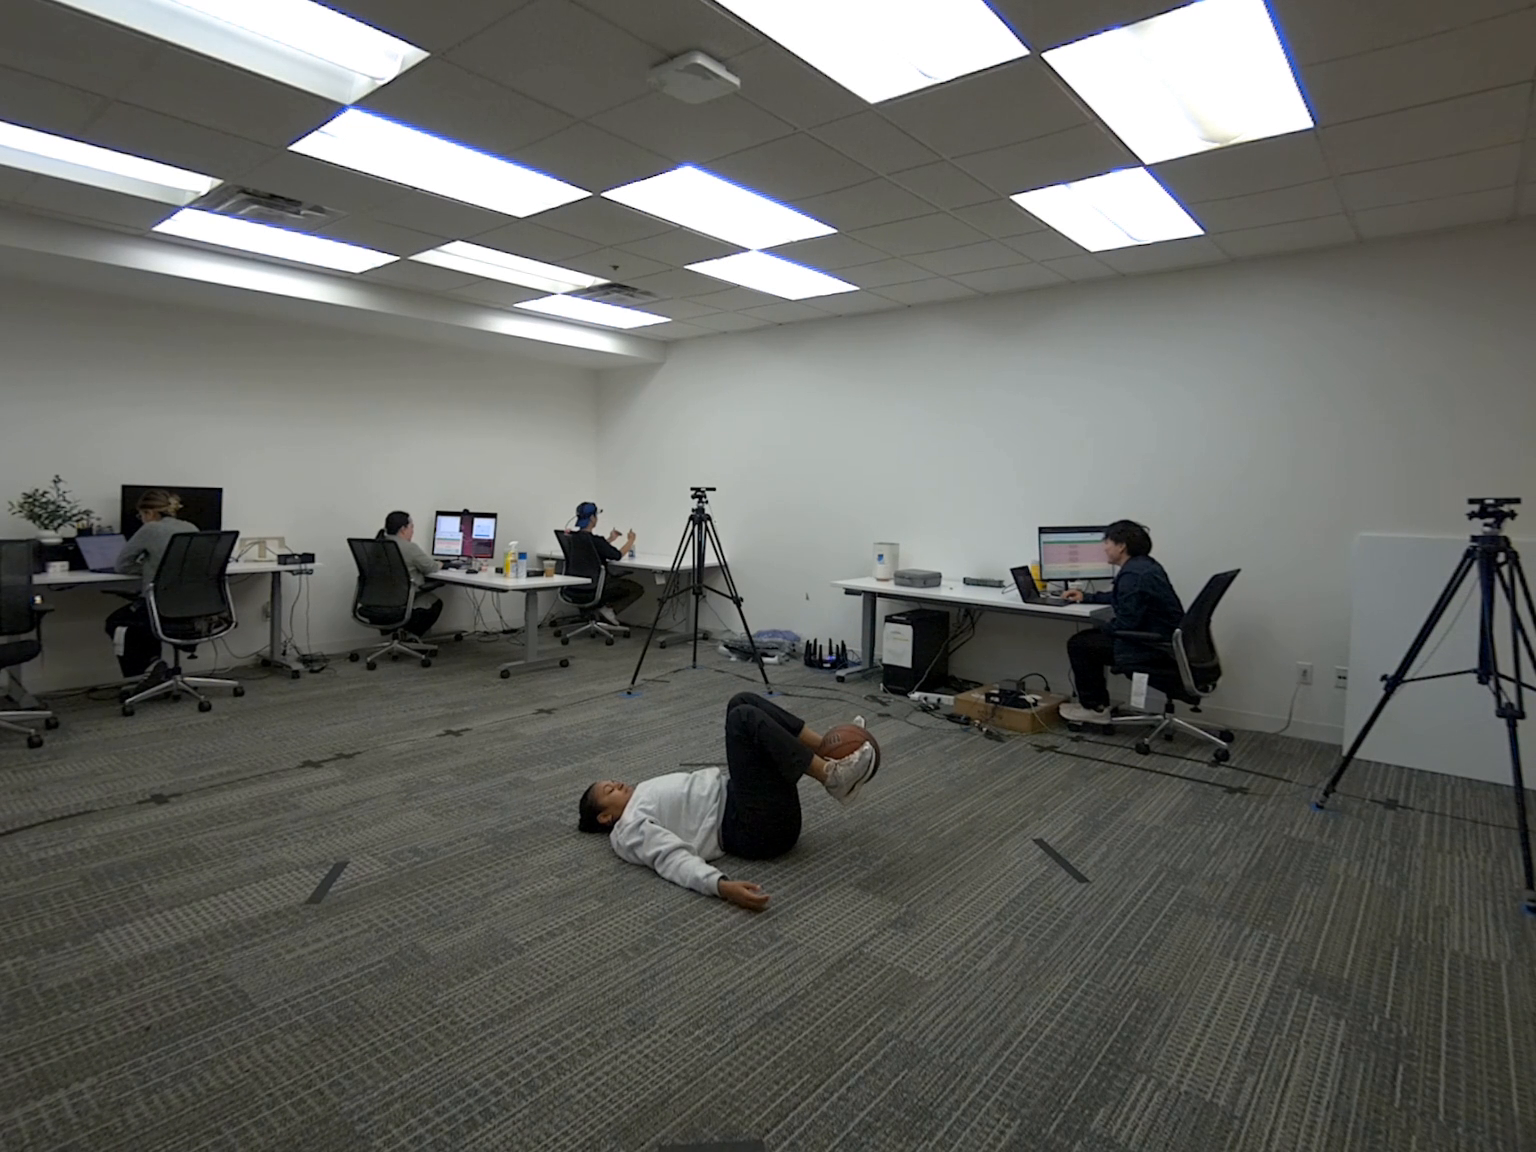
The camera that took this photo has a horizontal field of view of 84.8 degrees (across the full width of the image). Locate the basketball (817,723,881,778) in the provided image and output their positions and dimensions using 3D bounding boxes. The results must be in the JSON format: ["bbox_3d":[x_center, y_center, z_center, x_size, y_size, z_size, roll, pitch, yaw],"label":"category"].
[{"bbox_3d":[0.311,0.690,3.310,0.236,0.234,0.238,-2,8,-2],"label":"basketball"}]
